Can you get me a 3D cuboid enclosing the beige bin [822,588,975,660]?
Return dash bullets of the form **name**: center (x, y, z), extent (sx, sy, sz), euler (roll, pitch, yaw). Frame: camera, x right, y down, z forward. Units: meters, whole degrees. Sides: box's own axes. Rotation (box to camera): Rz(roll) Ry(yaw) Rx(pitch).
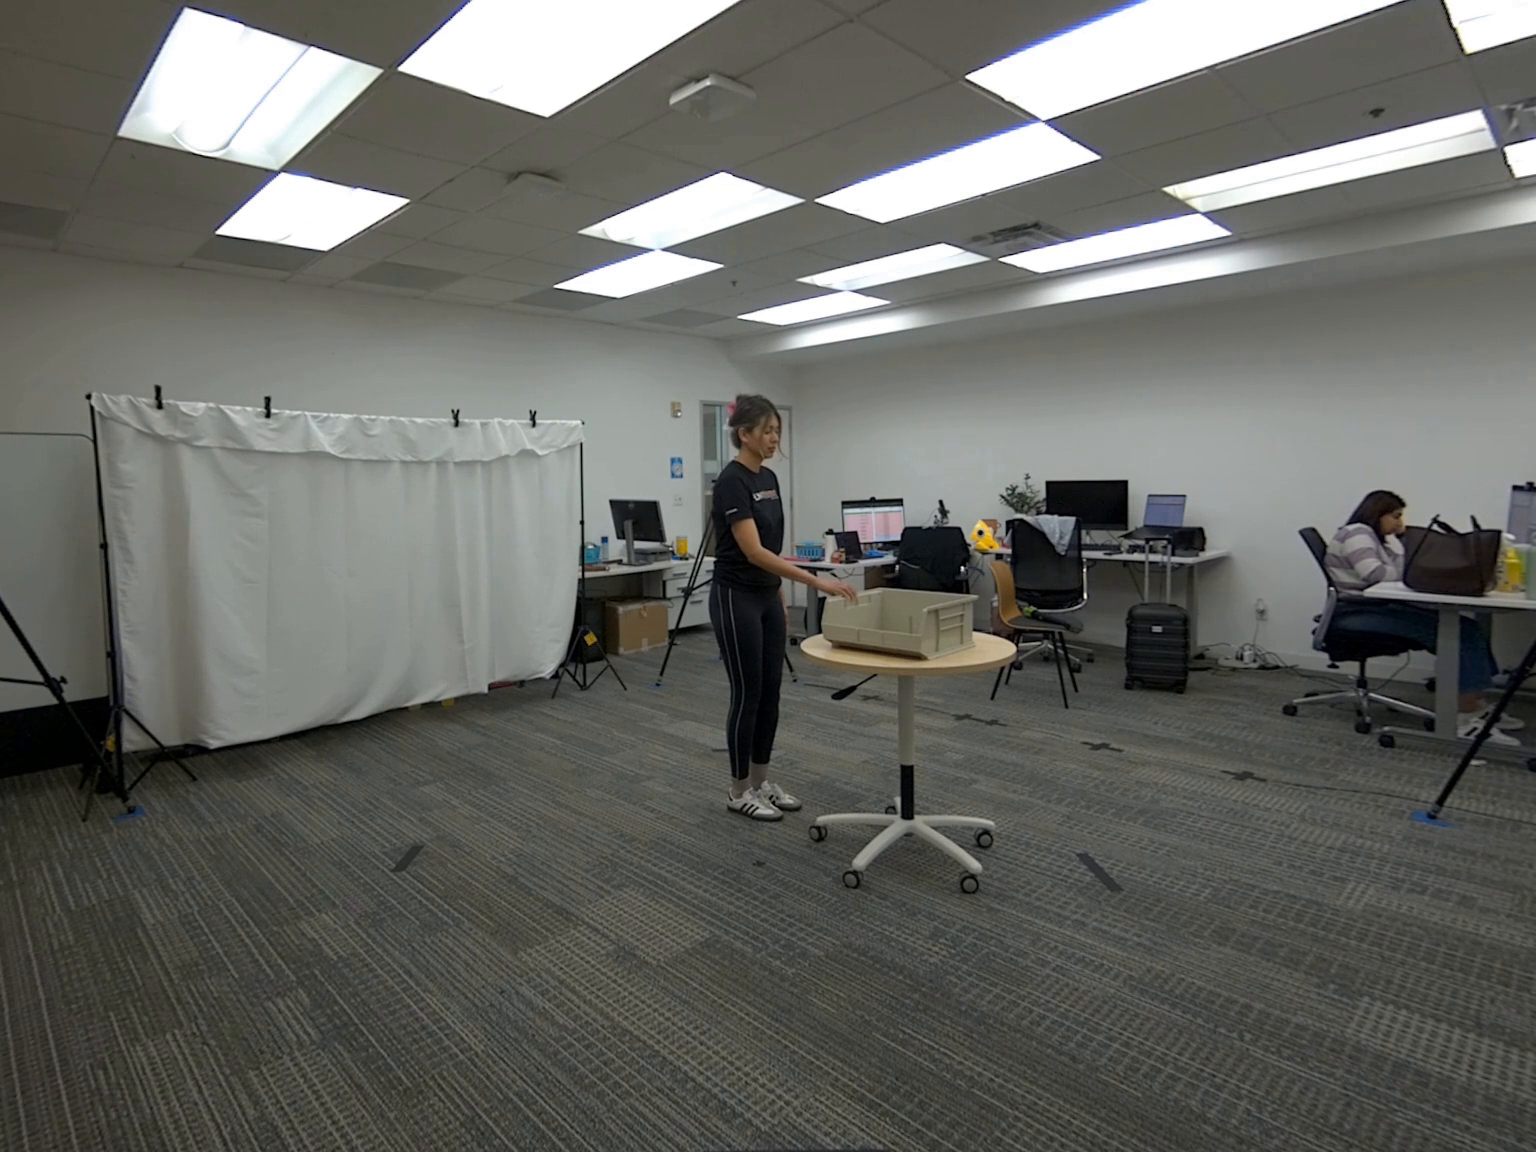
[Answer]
- **beige bin**: center (0.471, 0.168, 3.072), extent (0.435, 0.188, 0.367), euler (4, 6, 44)
